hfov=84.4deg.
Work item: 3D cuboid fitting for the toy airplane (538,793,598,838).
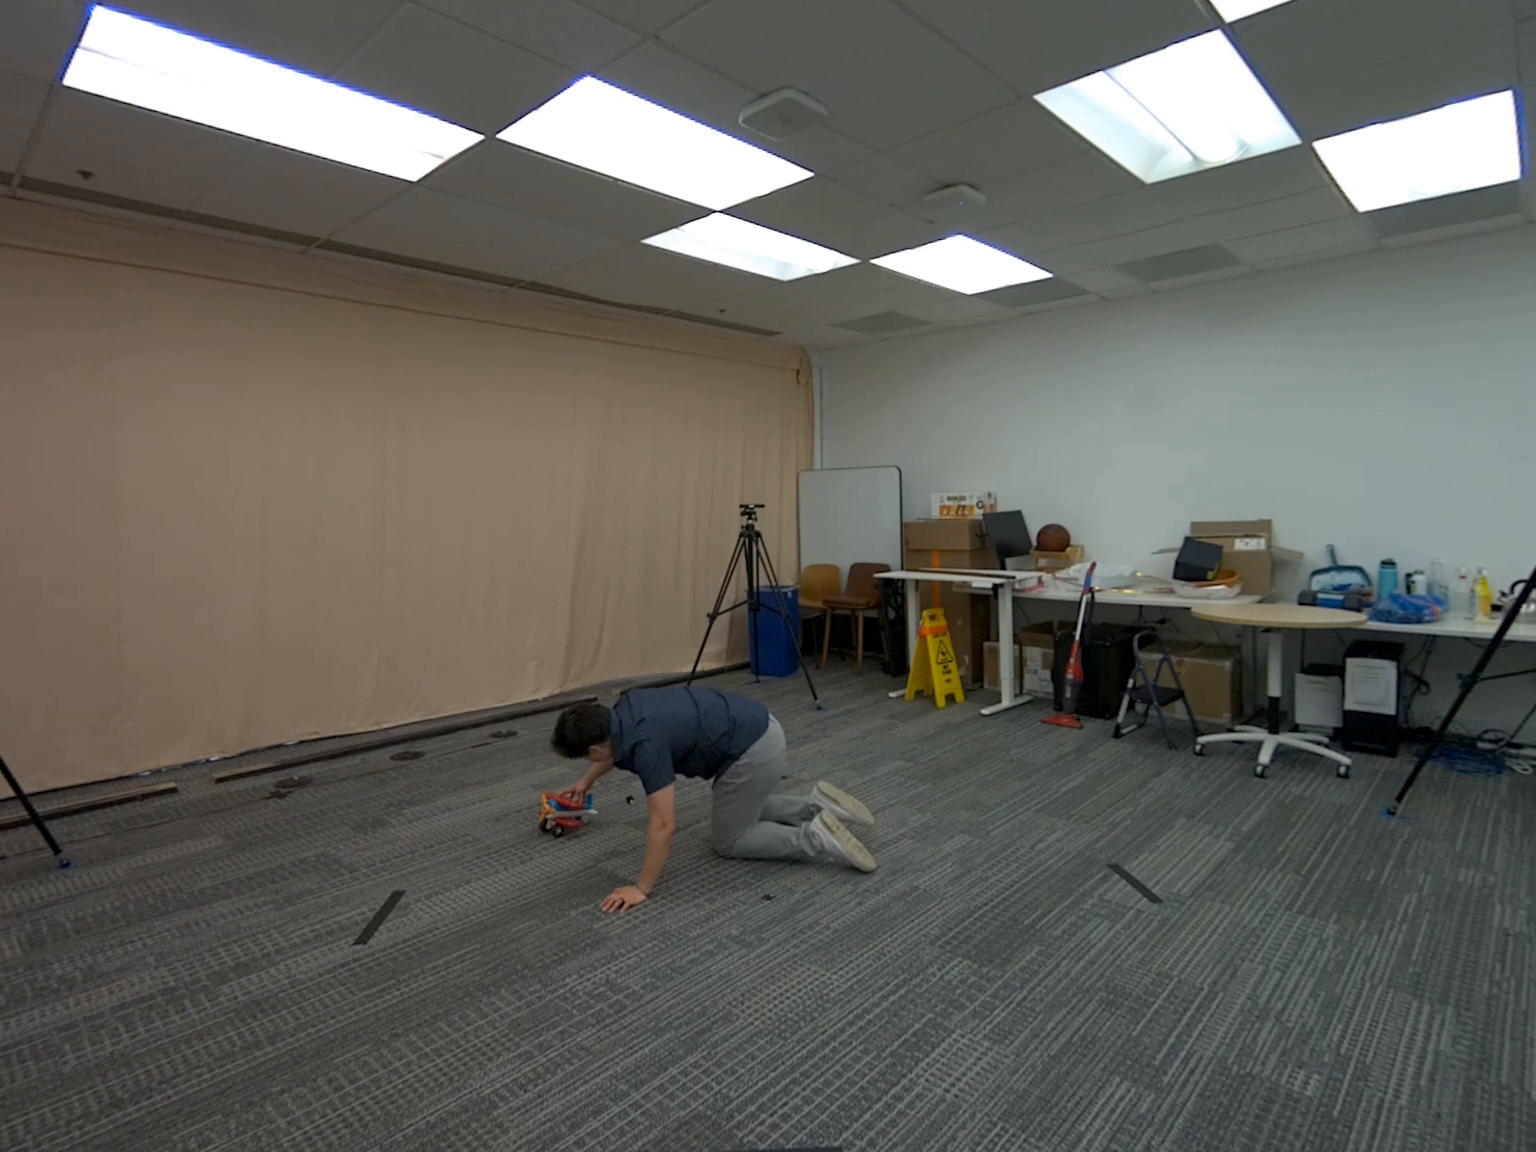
[{"bbox_3d":[-0.891,1.031,3.693,0.255,0.156,0.255,2,5,15],"label":"toy airplane"}]
